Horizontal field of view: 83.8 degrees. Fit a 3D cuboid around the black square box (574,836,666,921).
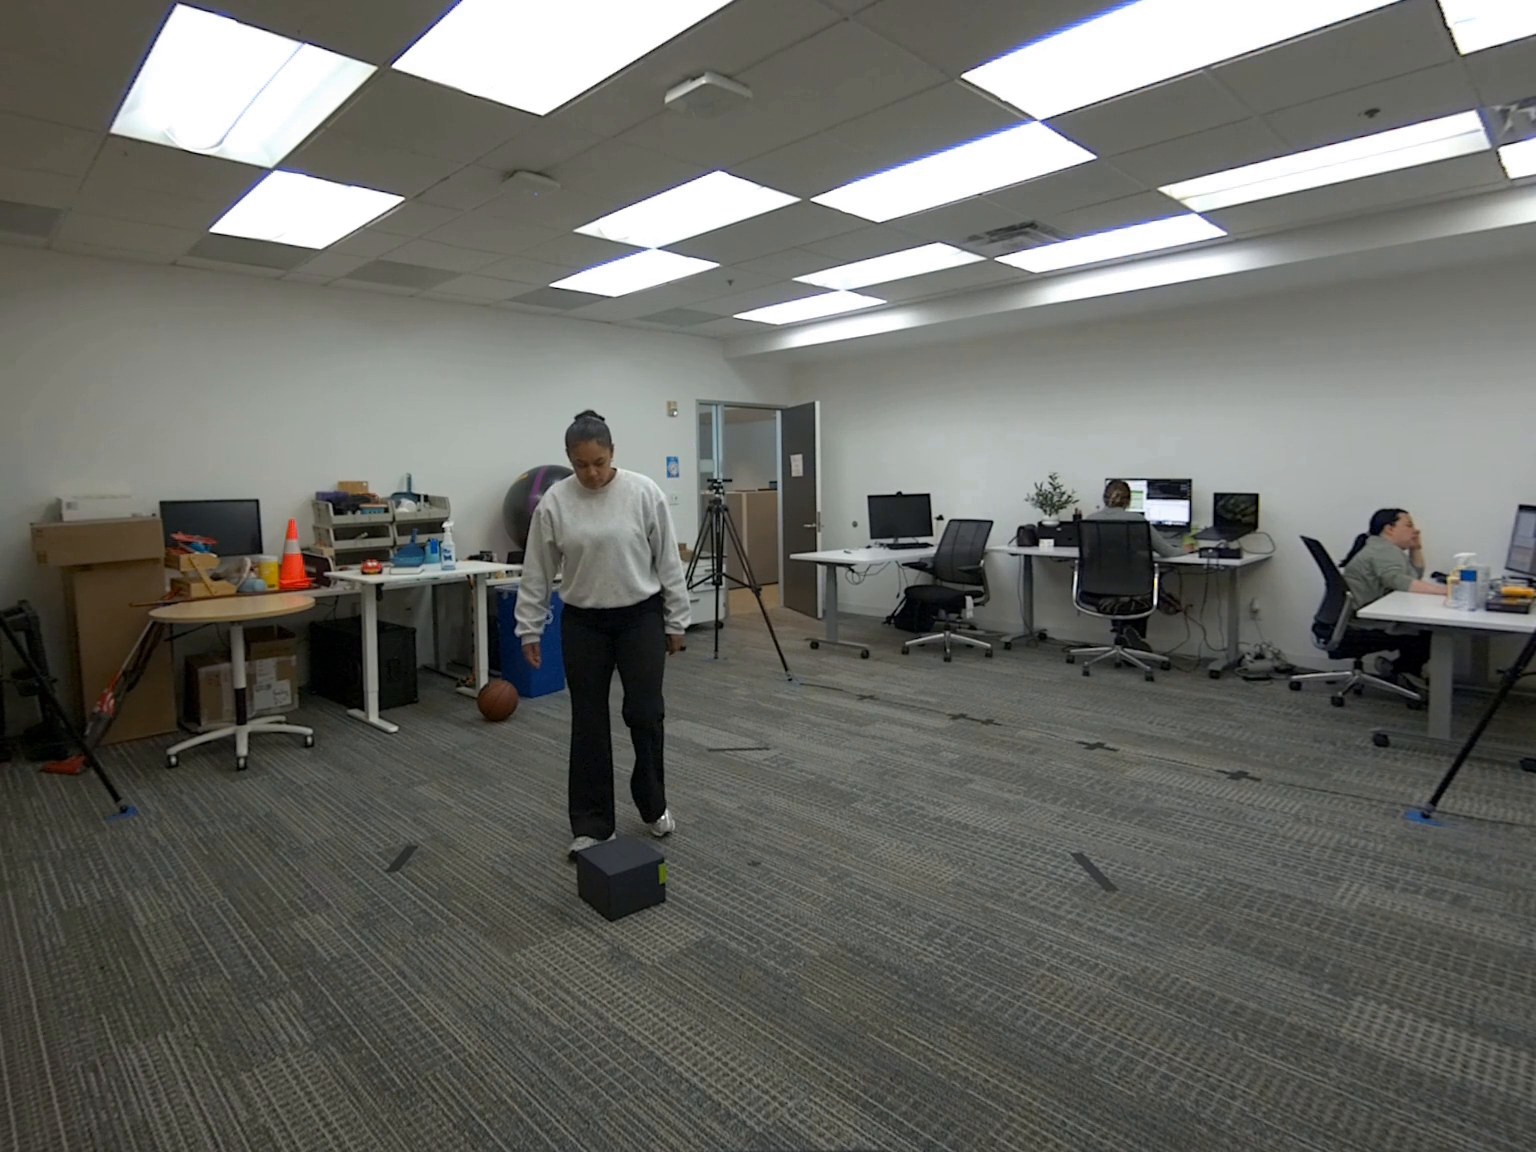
[{"bbox_3d":[-0.490,1.000,2.852,0.211,0.155,0.235,-6,8,-38],"label":"black square box"}]
